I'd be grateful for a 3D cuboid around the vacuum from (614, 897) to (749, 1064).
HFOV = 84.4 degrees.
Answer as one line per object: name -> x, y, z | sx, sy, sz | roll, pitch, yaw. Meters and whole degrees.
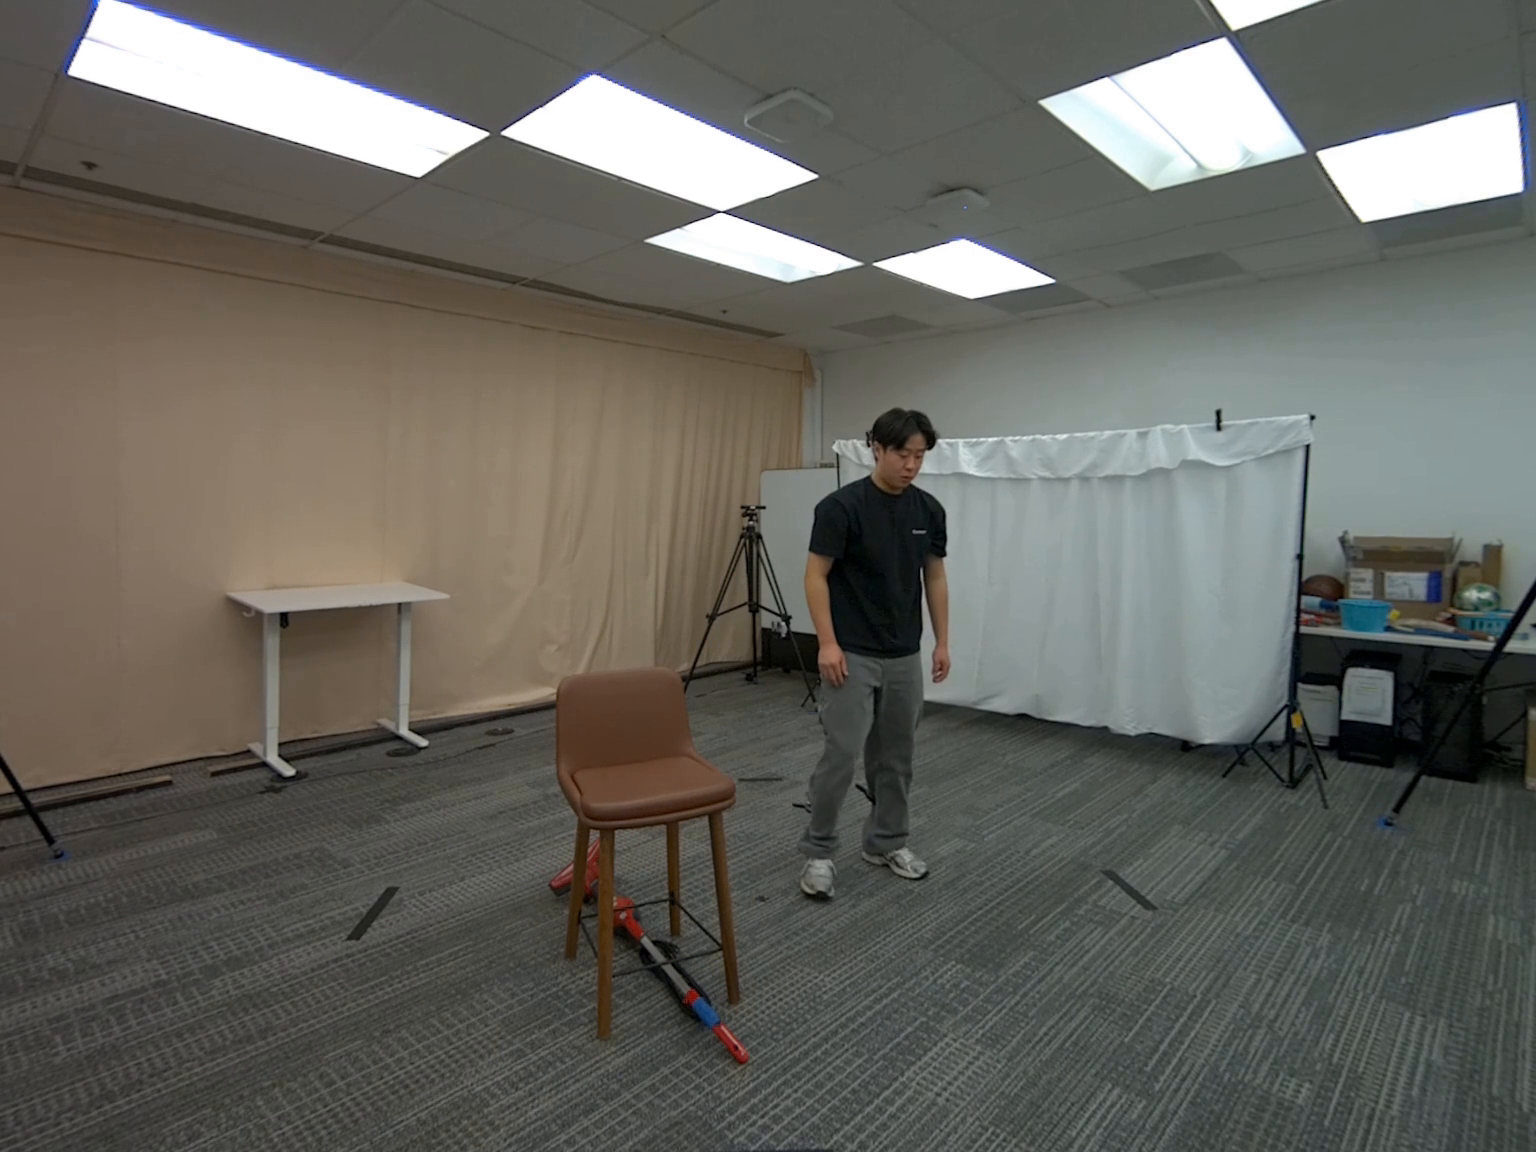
vacuum -> -0.363, 1.141, 2.558 | 0.250, 0.140, 1.083 | -40, 27, -21
